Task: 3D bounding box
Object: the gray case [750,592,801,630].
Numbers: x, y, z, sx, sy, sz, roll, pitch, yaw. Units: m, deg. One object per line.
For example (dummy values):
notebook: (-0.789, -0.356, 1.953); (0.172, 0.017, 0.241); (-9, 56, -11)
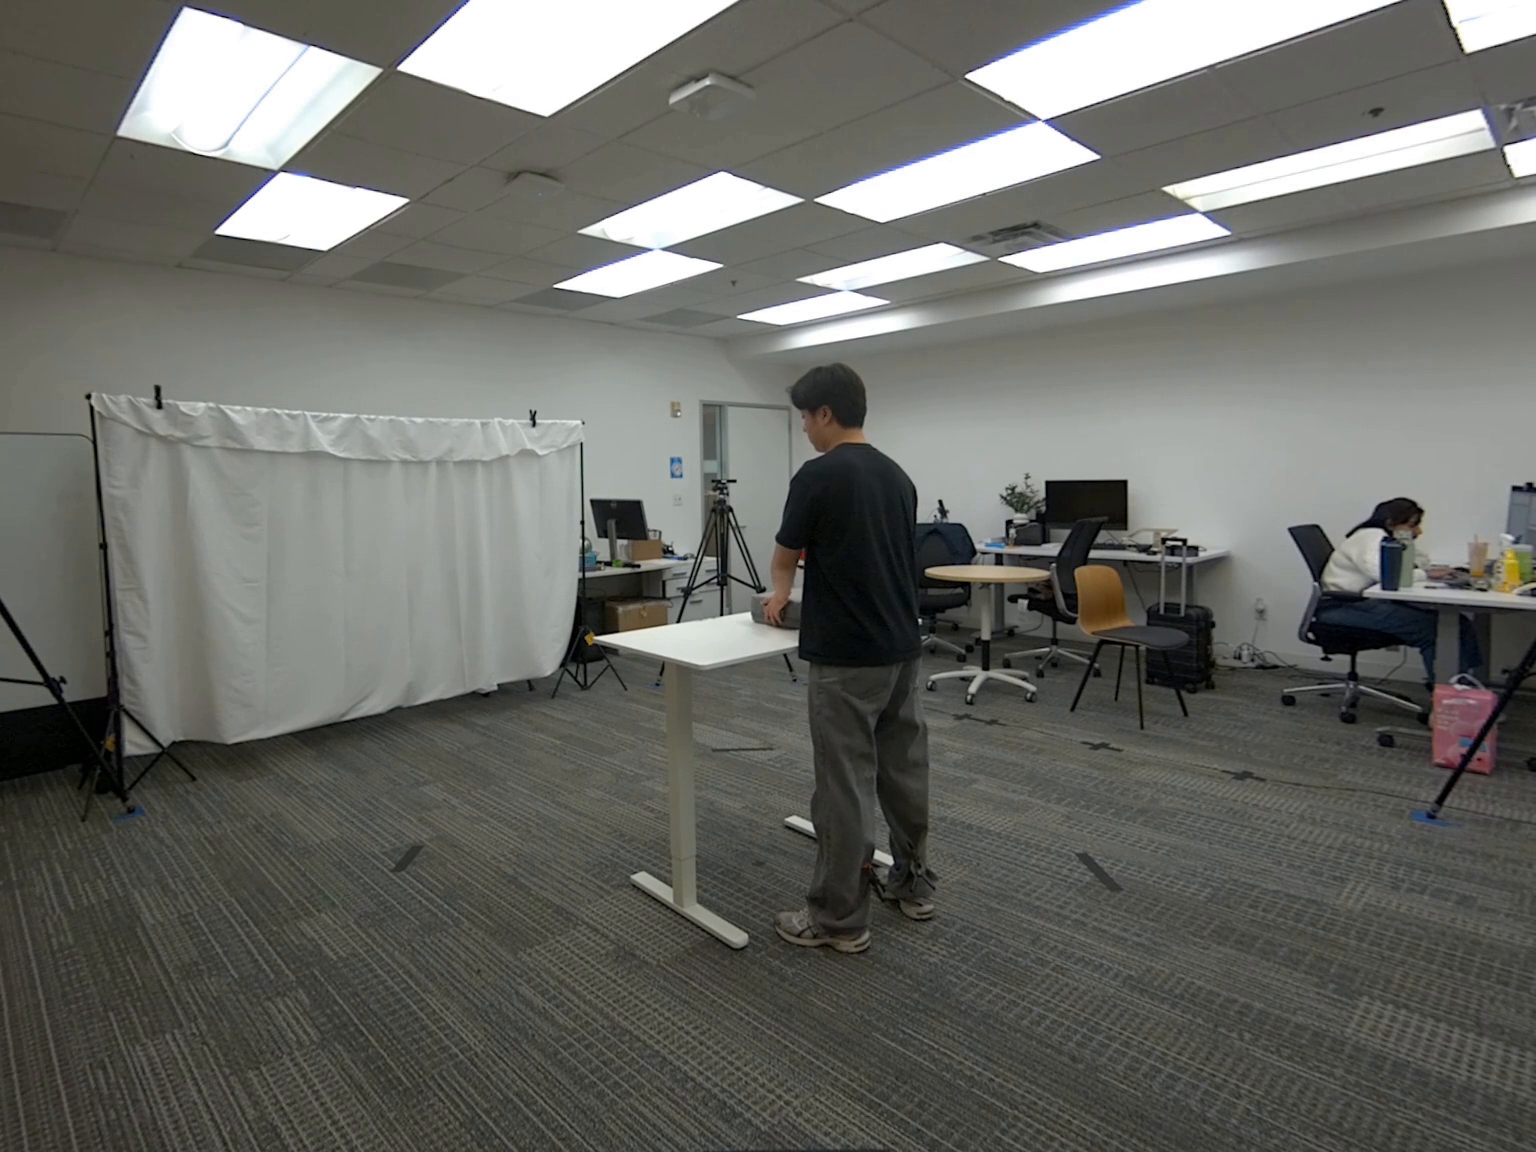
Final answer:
gray case: (0.098, 0.115, 3.062); (0.280, 0.102, 0.271); (-7, 9, -40)
